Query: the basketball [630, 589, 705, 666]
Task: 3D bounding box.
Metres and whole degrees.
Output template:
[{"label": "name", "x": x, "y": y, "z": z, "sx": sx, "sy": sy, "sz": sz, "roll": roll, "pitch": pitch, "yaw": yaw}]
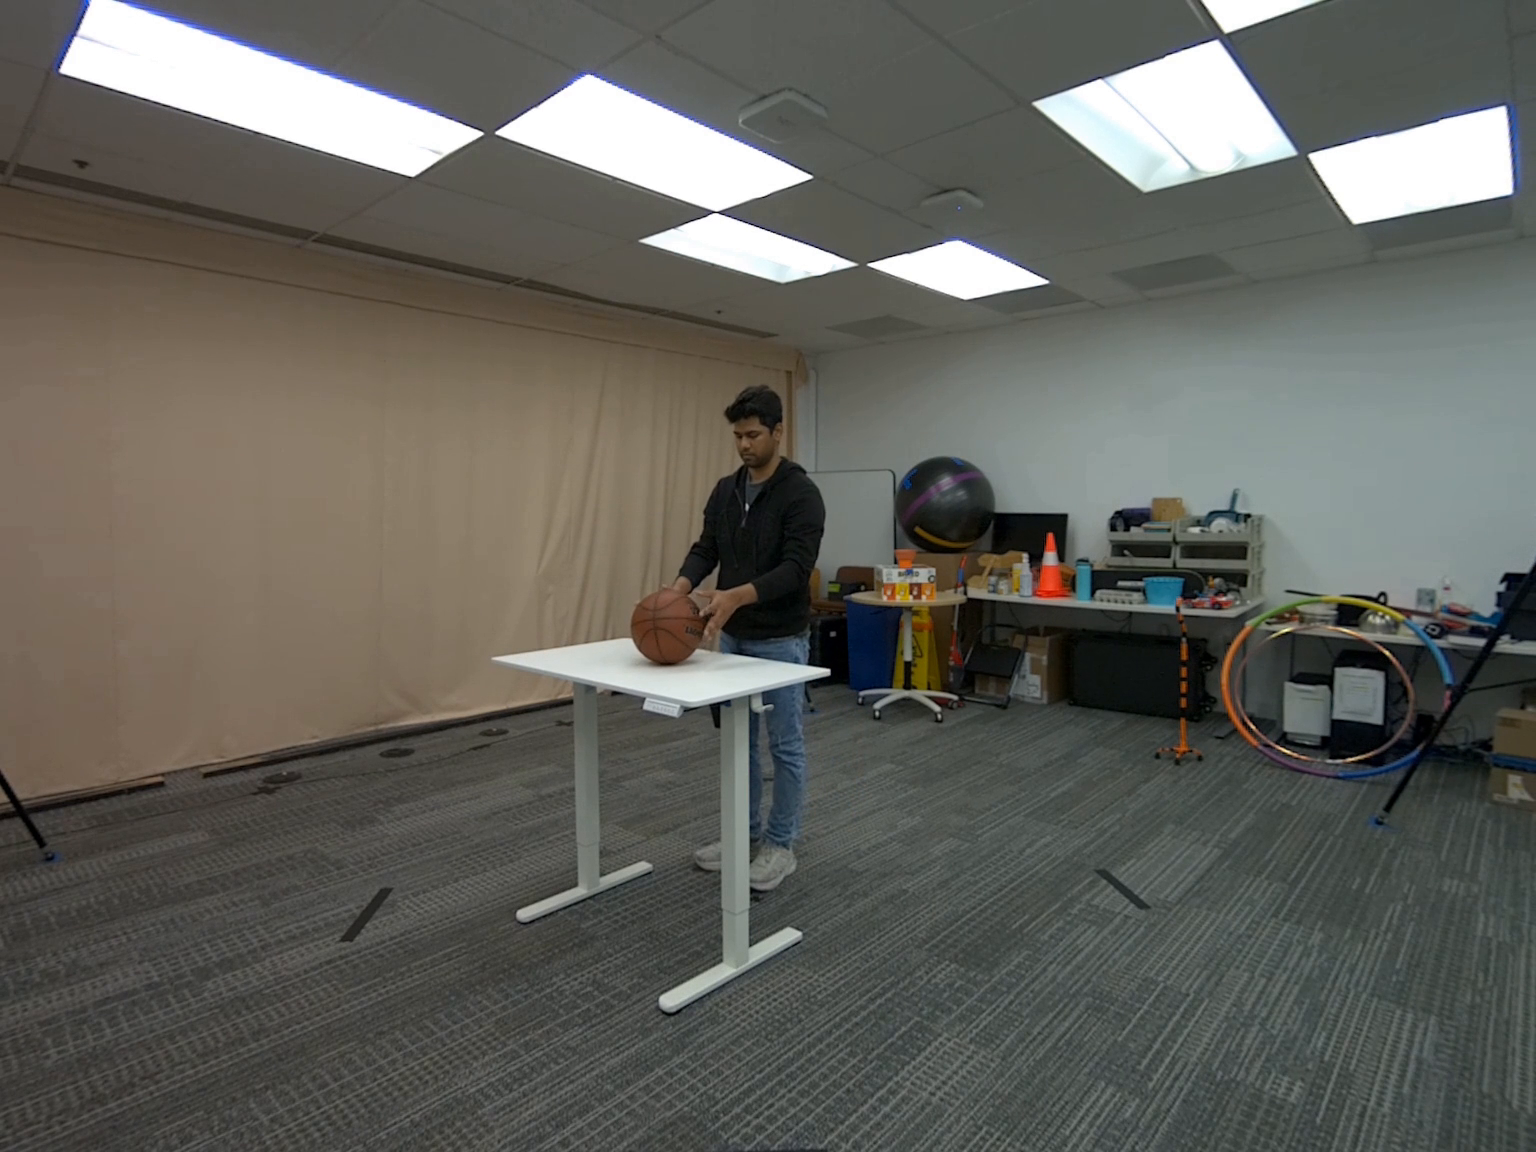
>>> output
[{"label": "basketball", "x": -0.316, "y": 0.163, "z": 2.736, "sx": 0.236, "sy": 0.235, "sz": 0.237, "roll": 0, "pitch": 4, "yaw": -2}]
